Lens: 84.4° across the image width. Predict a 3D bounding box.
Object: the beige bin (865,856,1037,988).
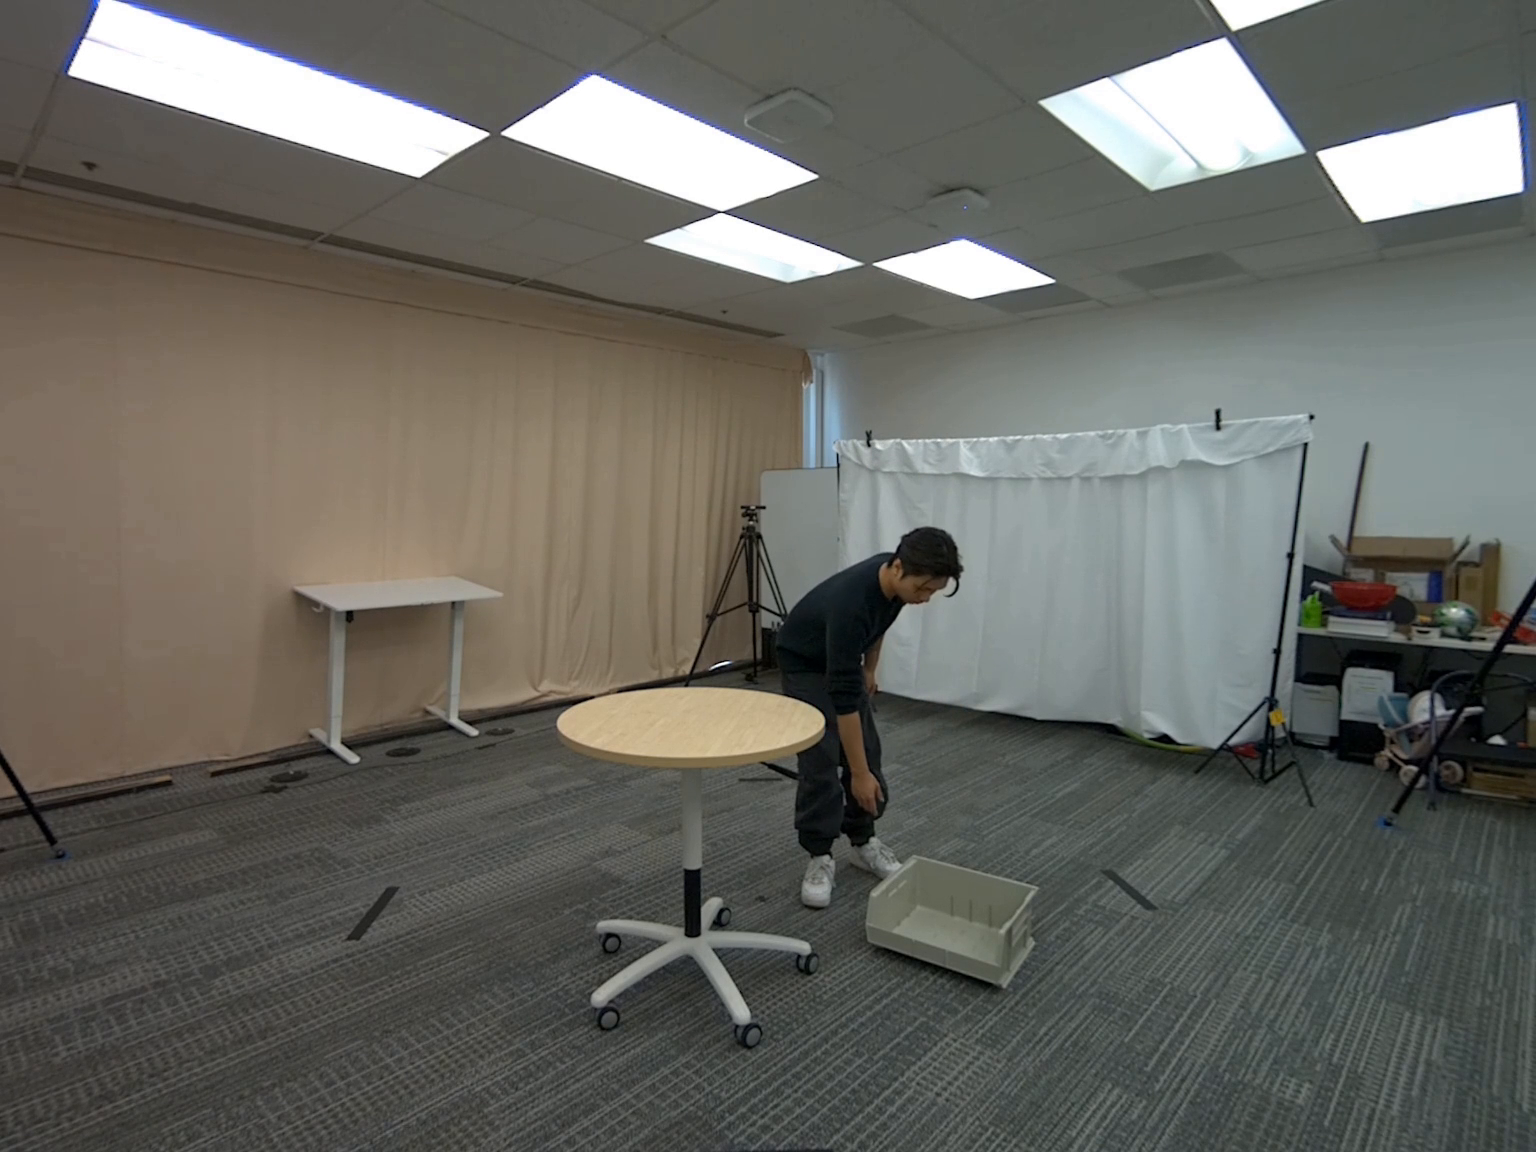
[{"bbox_3d":[0.589,1.083,2.646,0.435,0.188,0.366,3,5,34],"label":"beige bin"}]
